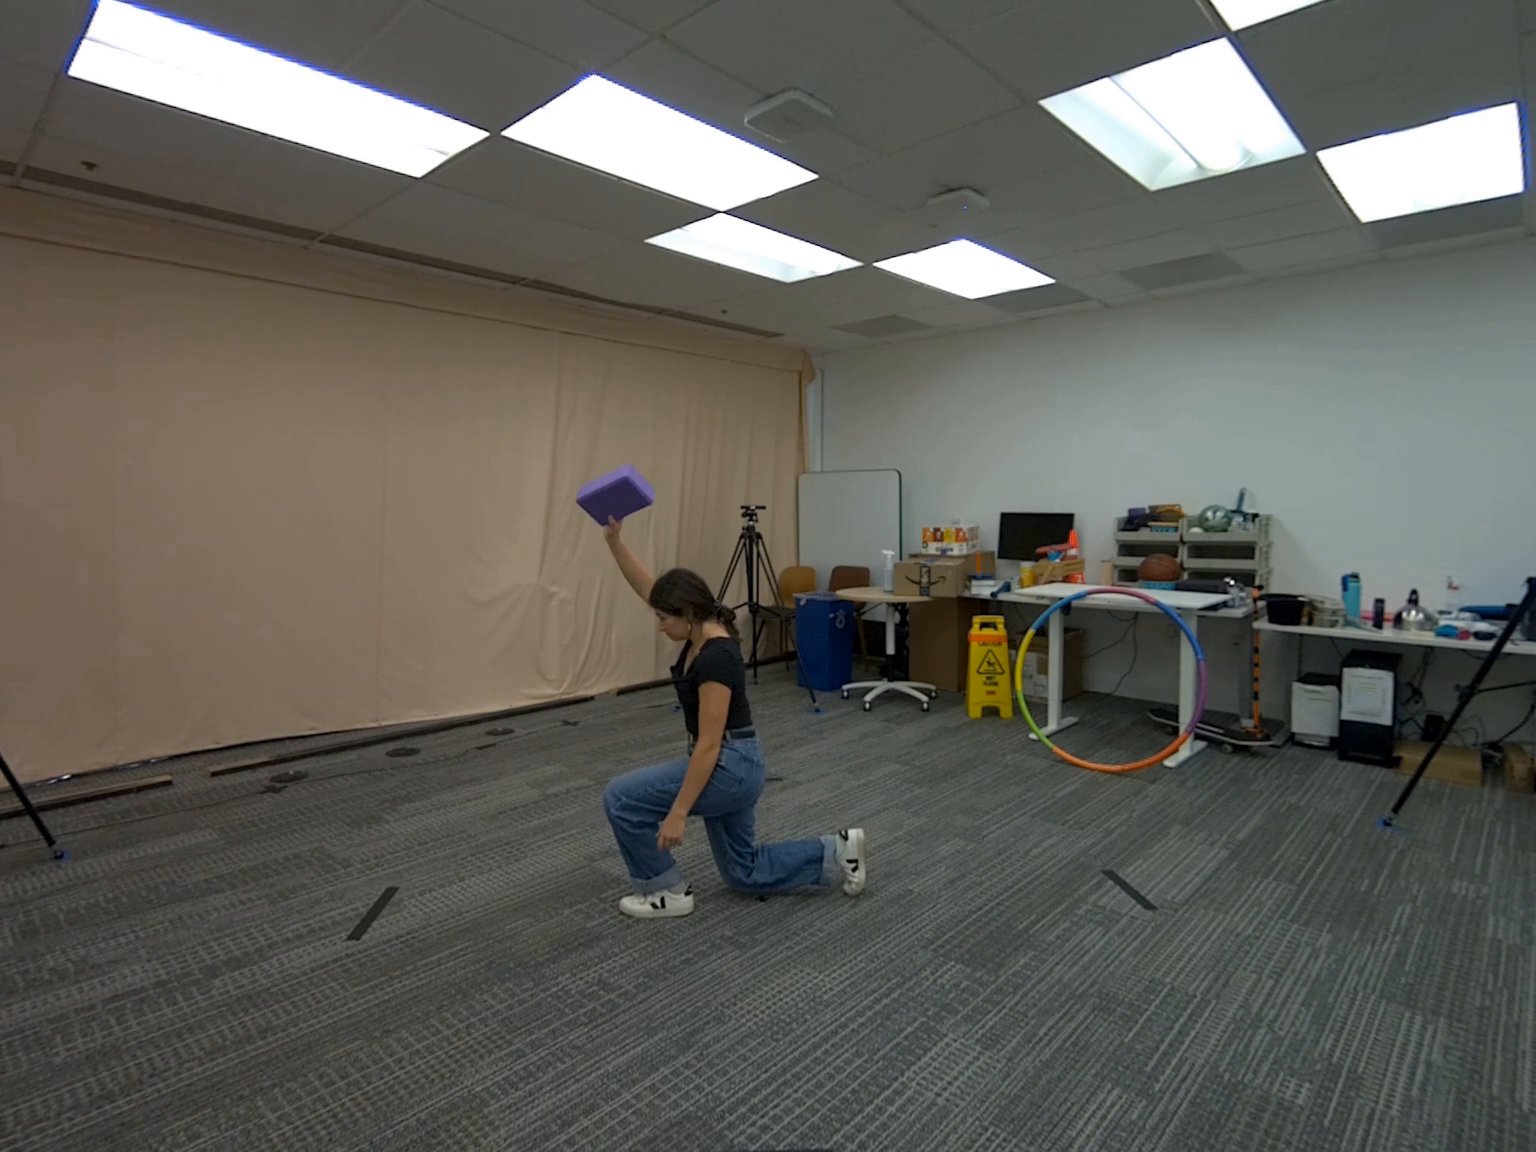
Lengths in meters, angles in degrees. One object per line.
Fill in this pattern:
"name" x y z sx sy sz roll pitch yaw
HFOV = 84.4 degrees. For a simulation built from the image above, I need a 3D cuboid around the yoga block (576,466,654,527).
"yoga block" -0.518 -0.273 2.847 0.233 0.077 0.144 -22 -48 27
